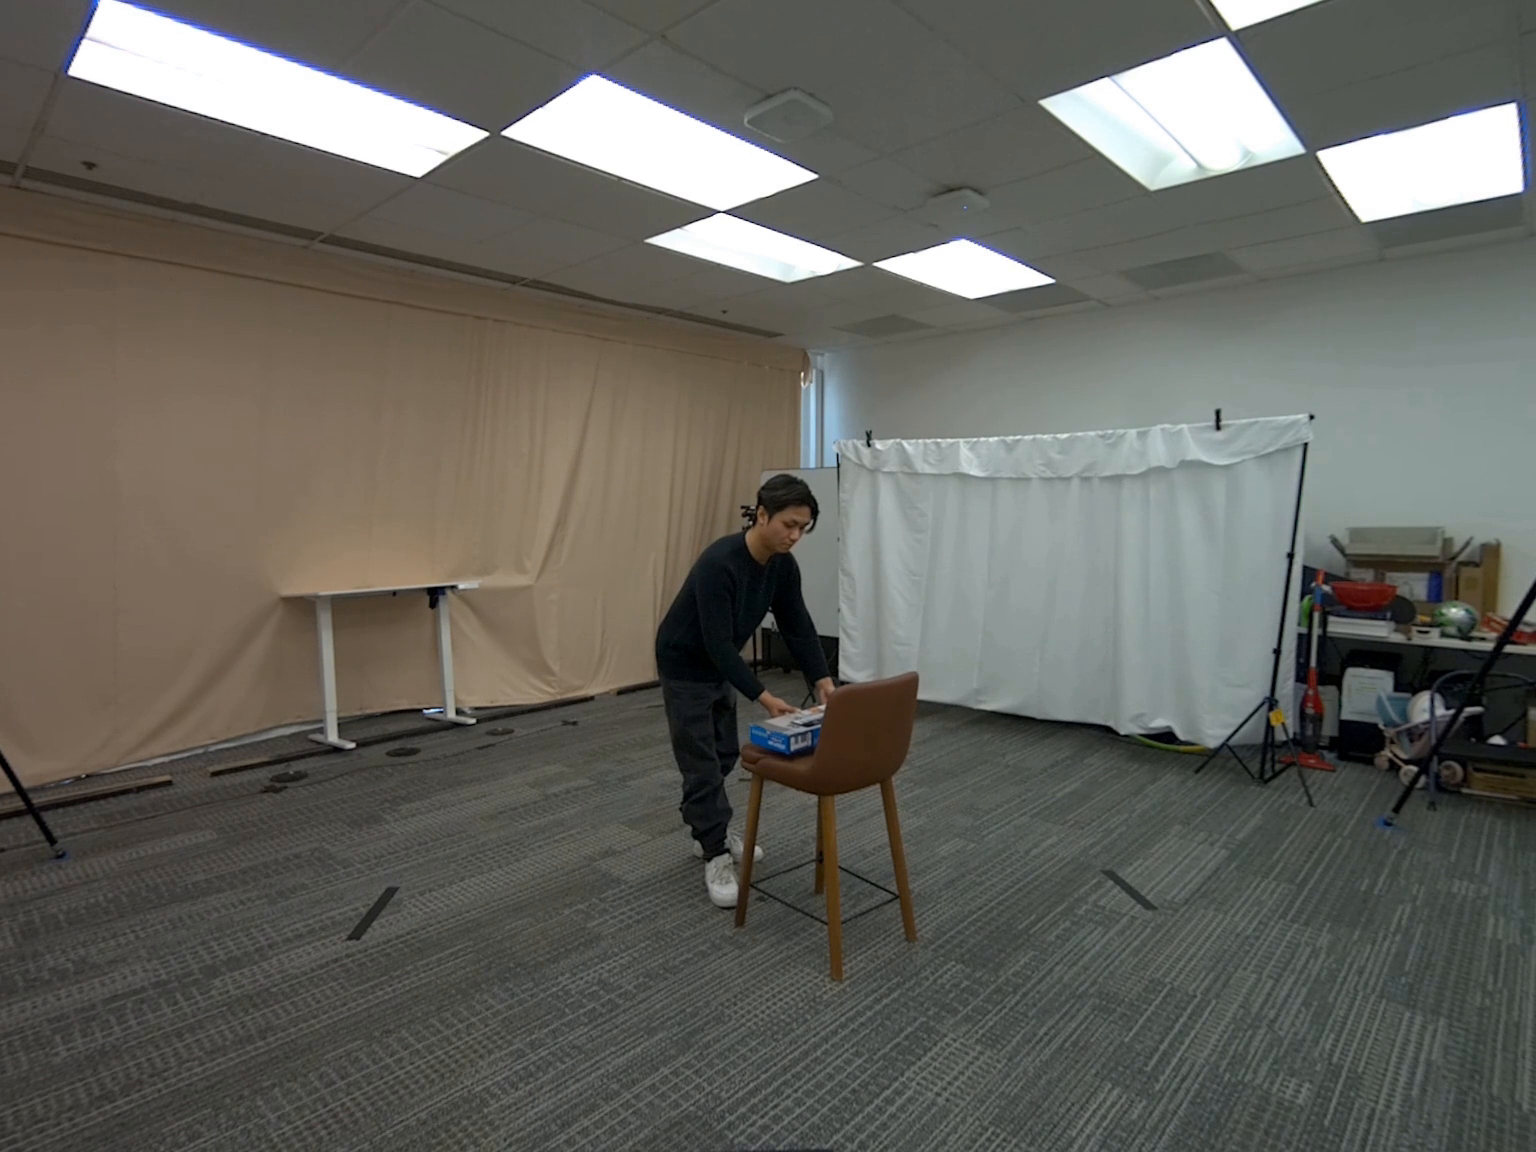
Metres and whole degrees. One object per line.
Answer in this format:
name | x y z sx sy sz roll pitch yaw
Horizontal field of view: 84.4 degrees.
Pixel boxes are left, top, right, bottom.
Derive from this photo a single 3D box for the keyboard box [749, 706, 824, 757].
keyboard box | 0.153 0.482 2.745 0.424 0.059 0.182 -7 8 -41
